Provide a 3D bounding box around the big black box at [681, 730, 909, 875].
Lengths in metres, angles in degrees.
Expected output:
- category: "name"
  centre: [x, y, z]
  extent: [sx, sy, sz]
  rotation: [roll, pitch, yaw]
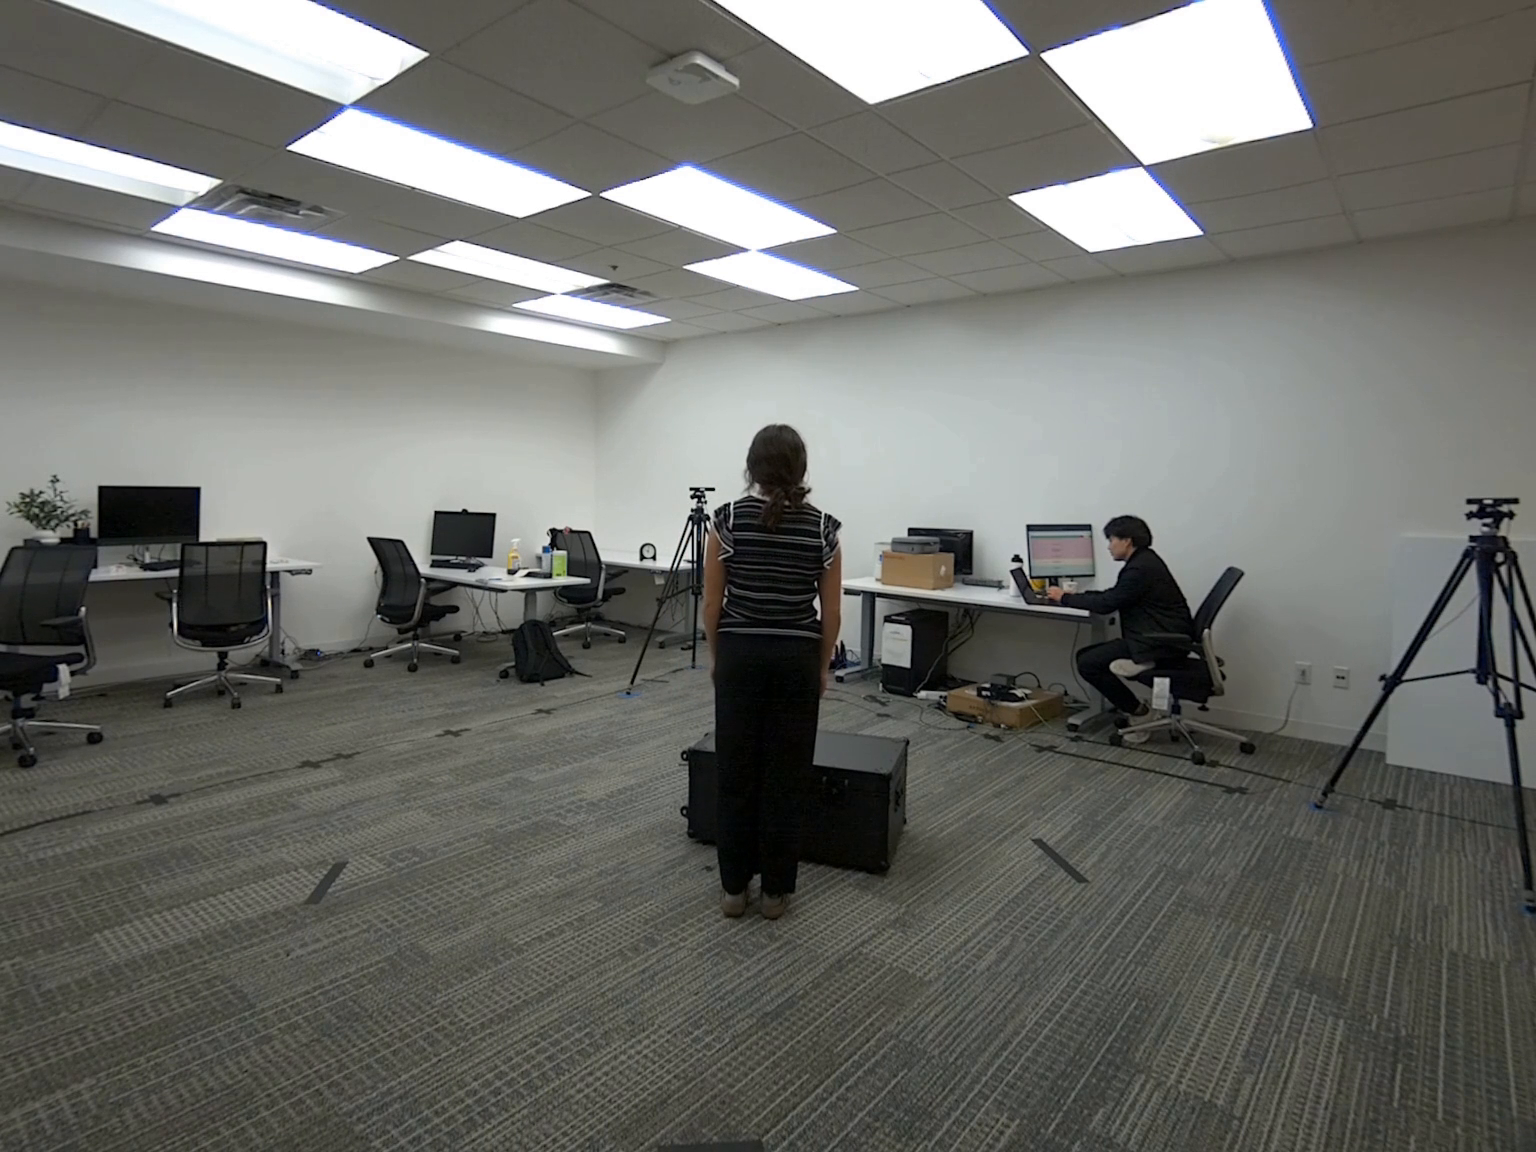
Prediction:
- category: "big black box"
  centre: [0.088, 0.849, 3.426]
  extent: [0.879, 0.394, 0.513]
  rotation: [3, 6, 19]
